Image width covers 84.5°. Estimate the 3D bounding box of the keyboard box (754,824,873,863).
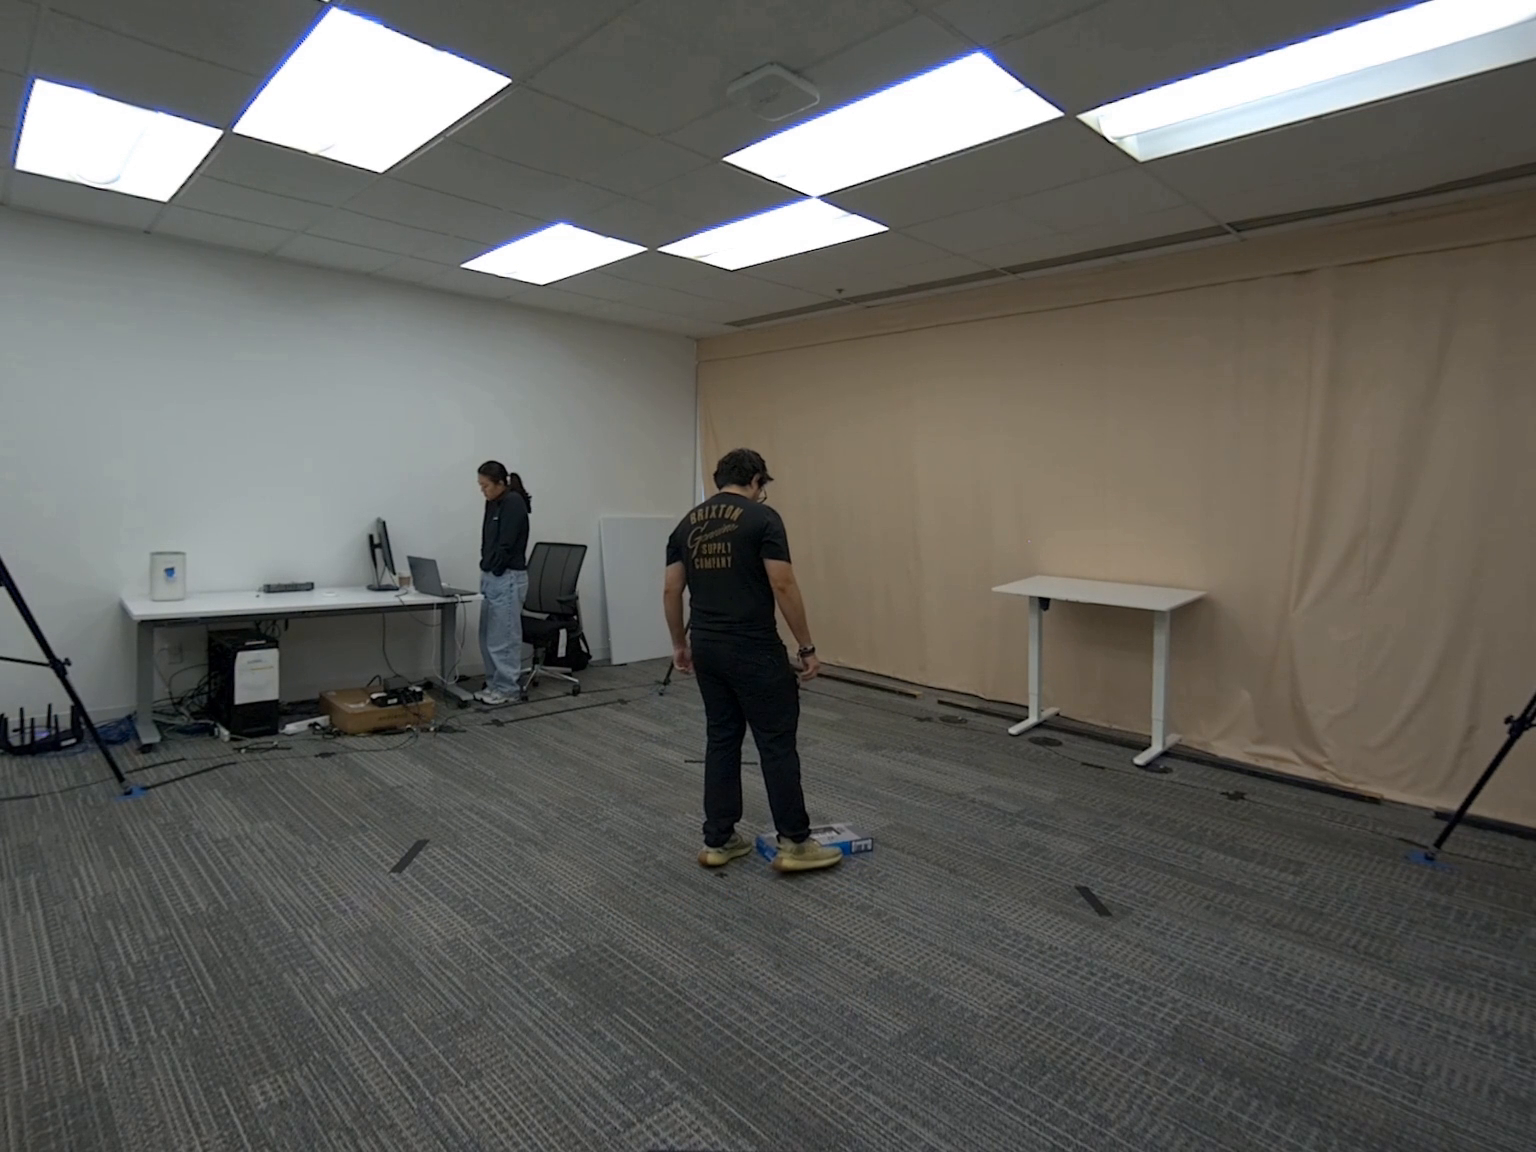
[{"bbox_3d":[0.178,1.059,3.342,0.429,0.059,0.179,-1,6,-23],"label":"keyboard box"}]
